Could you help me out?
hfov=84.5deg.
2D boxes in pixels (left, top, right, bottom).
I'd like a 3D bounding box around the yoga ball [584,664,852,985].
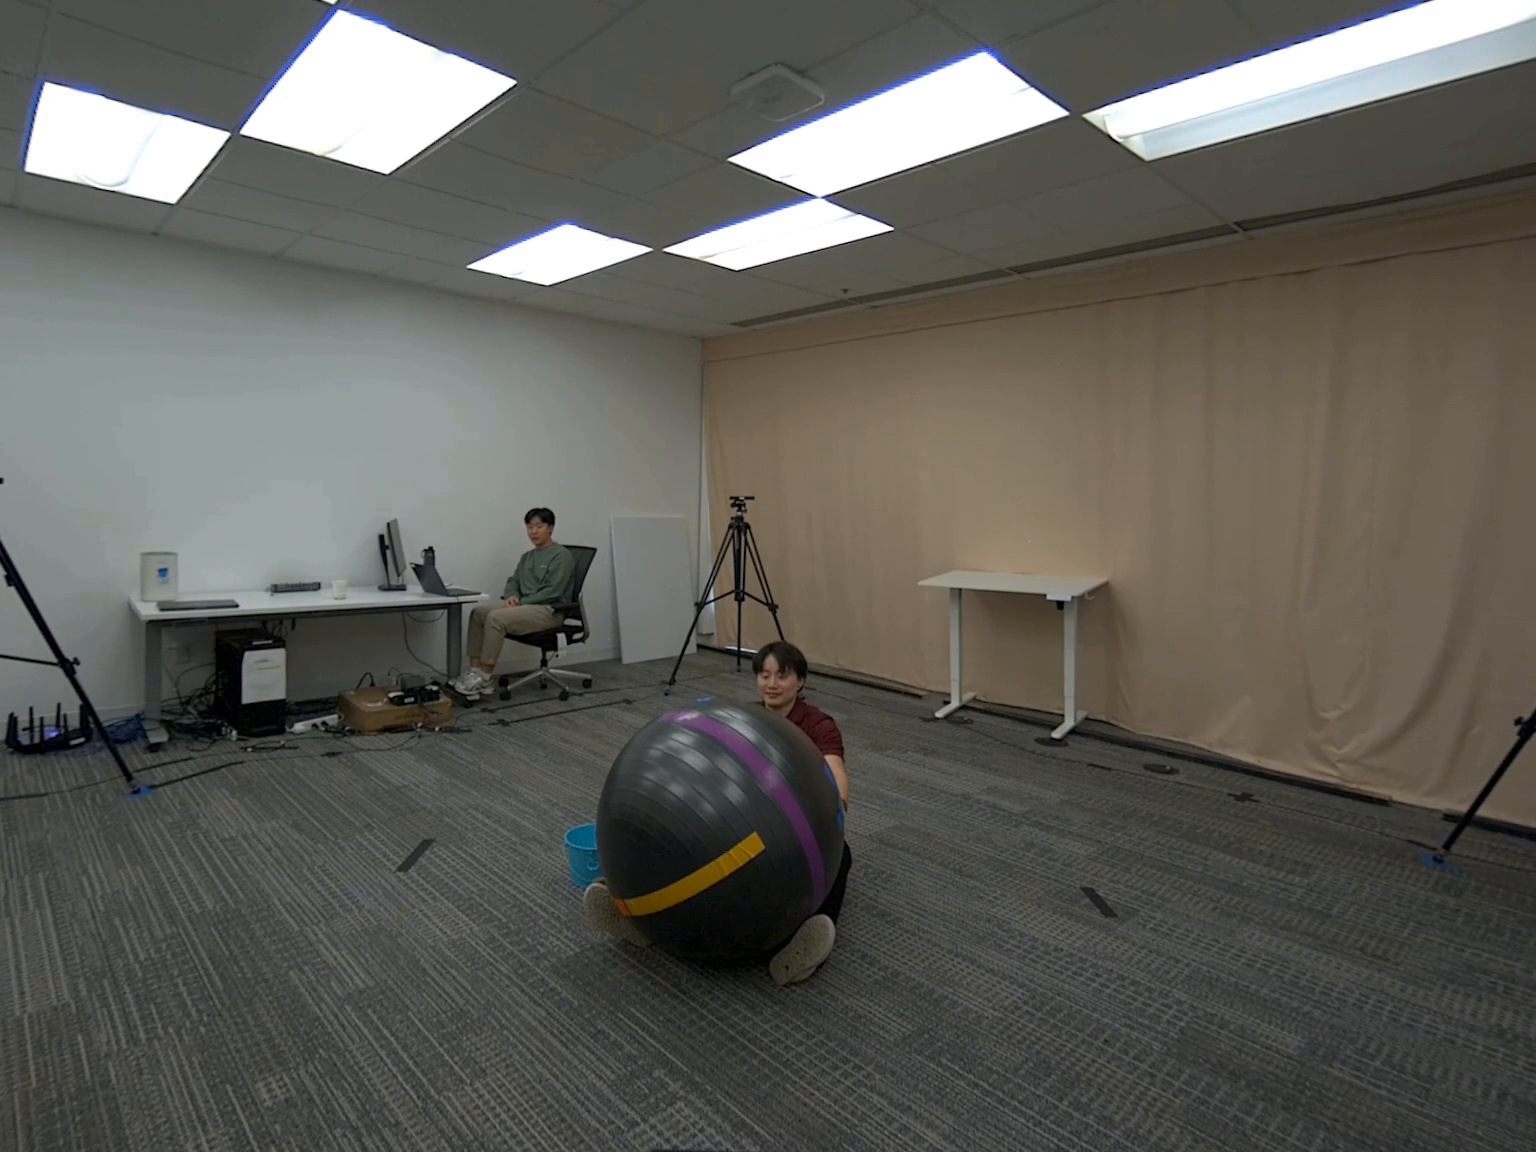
[{"bbox_3d":[-0.146,0.758,2.581,0.757,0.756,0.761,1,4,-1],"label":"yoga ball"}]
